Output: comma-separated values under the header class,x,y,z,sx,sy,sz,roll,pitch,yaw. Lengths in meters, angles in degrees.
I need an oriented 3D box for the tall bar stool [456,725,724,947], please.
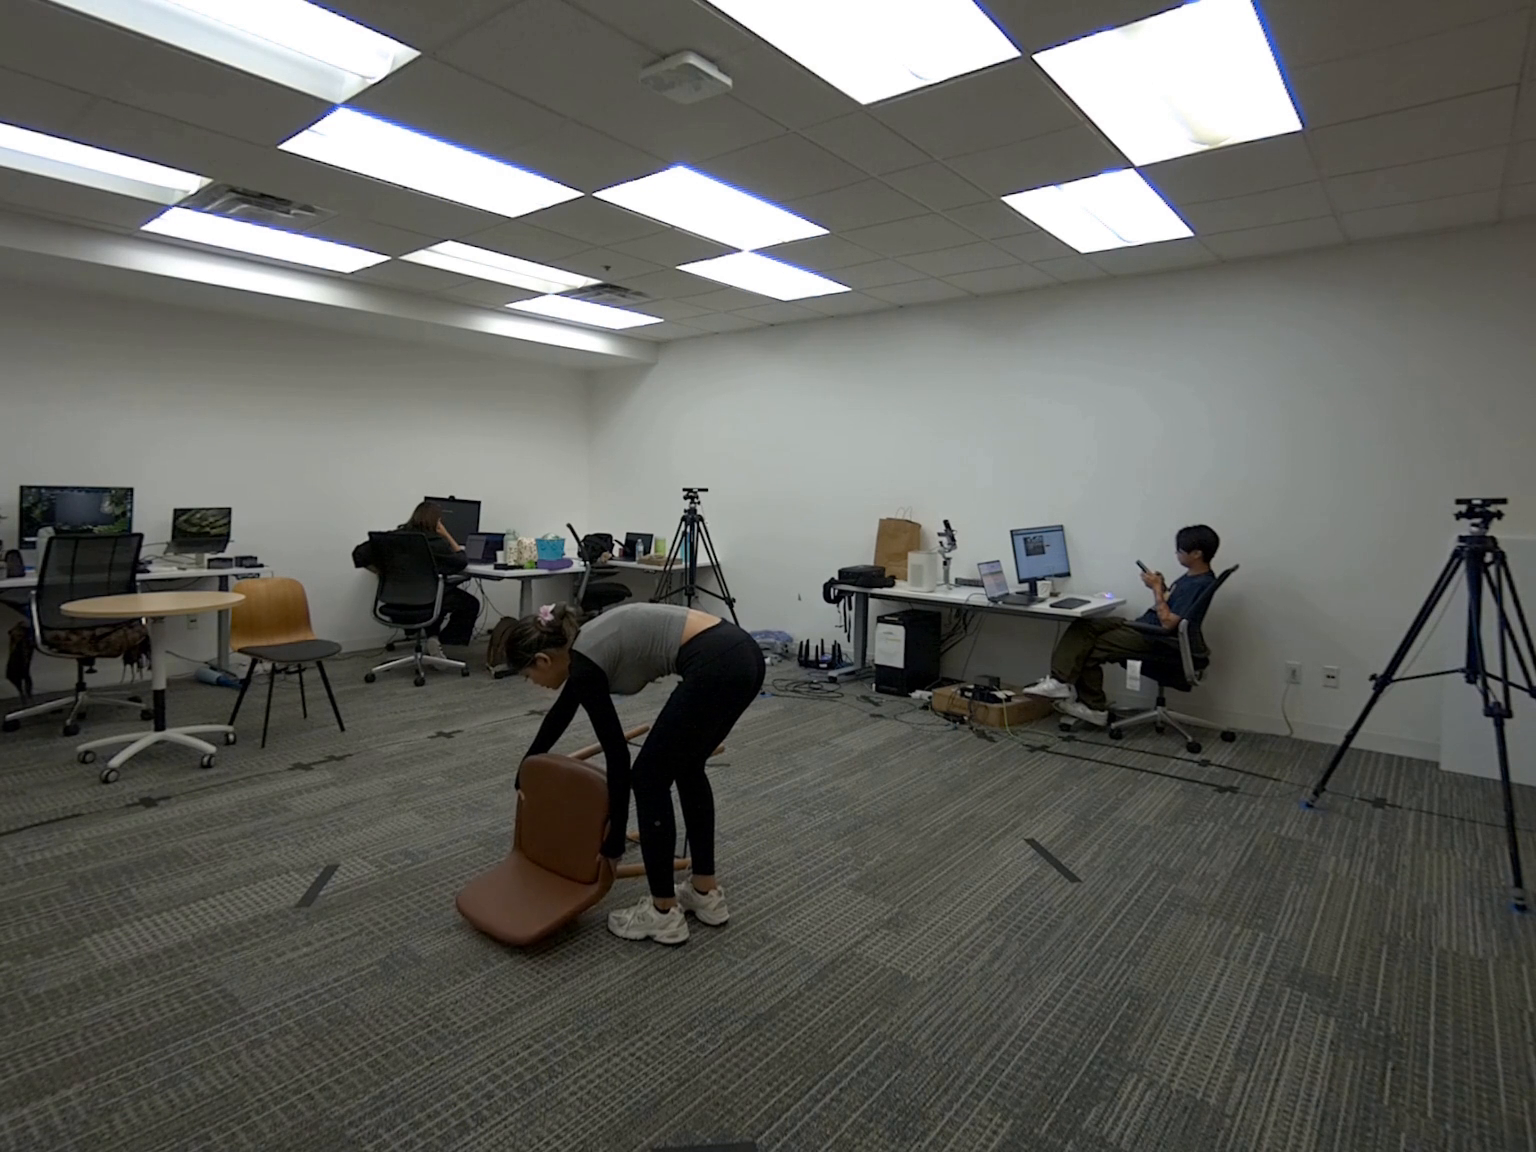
class,x,y,z,sx,sy,sz,roll,pitch,yaw
tall bar stool,-0.601,0.836,2.919,0.472,0.466,0.863,5,5,37
